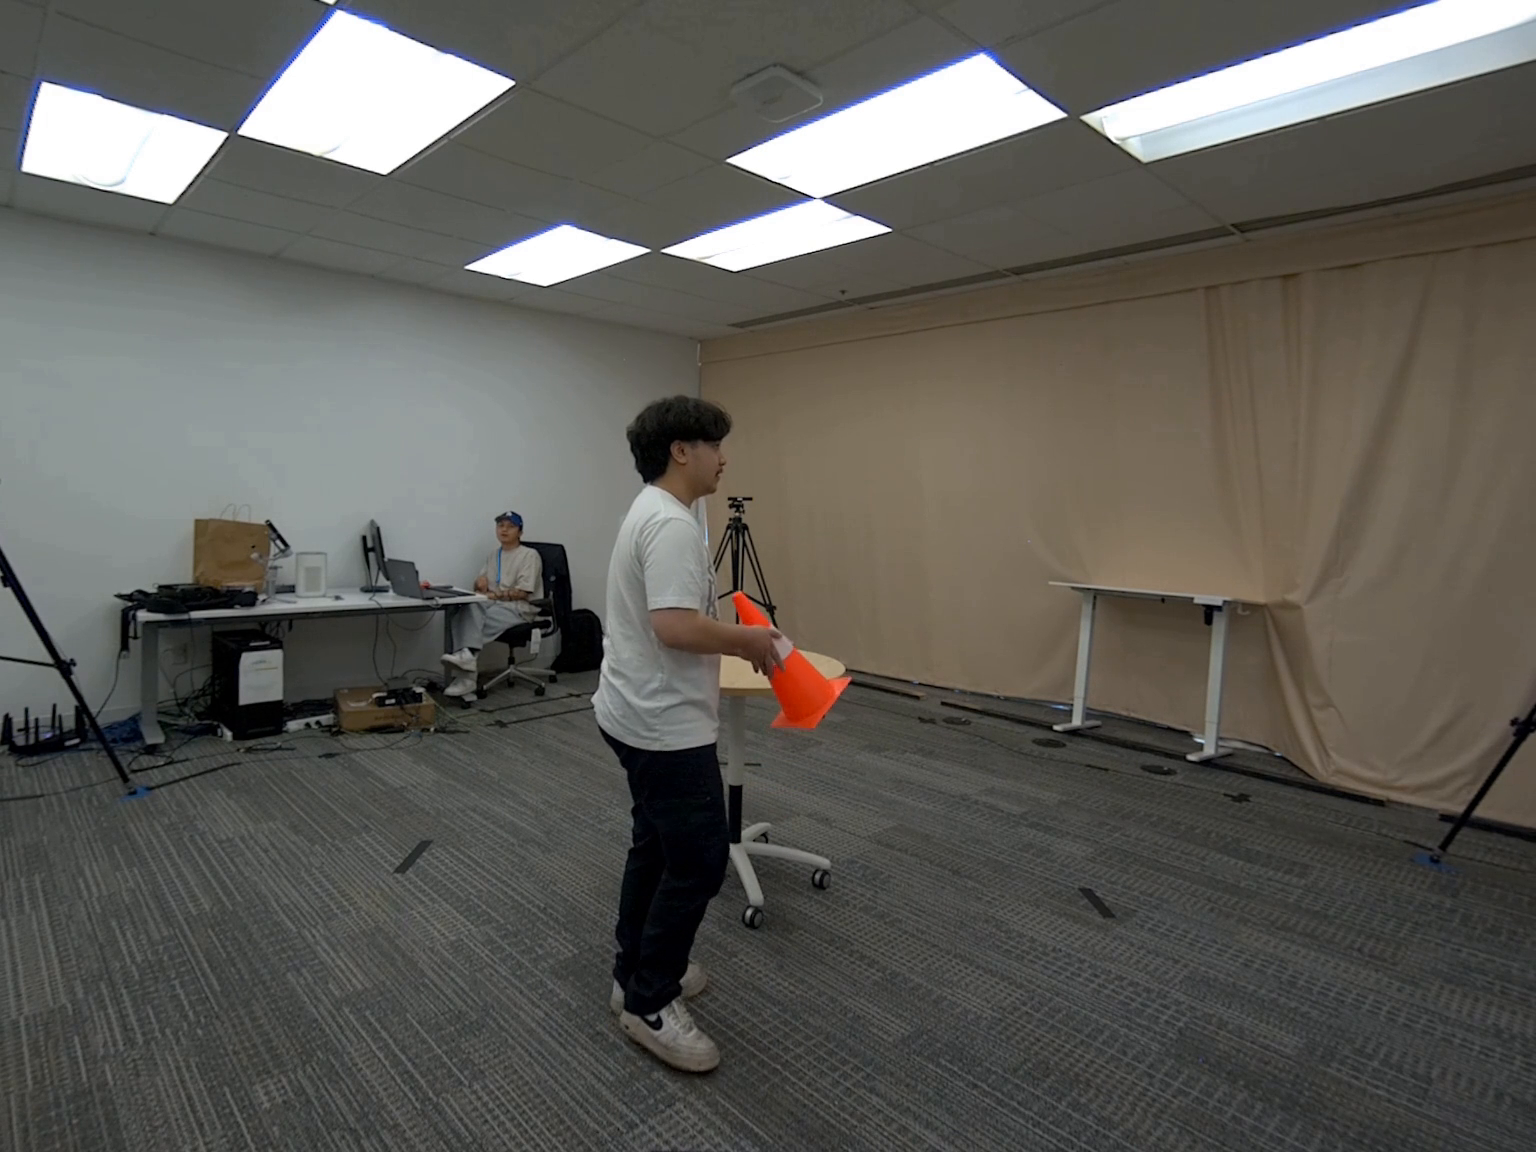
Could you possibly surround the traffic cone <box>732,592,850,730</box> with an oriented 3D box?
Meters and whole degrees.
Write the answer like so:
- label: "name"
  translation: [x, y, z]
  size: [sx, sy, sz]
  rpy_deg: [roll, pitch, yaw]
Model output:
- label: "traffic cone"
  translation: [0.013, 0.206, 2.277]
  size: [0.206, 0.379, 0.204]
  rpy_deg: [-19, 18, 48]
